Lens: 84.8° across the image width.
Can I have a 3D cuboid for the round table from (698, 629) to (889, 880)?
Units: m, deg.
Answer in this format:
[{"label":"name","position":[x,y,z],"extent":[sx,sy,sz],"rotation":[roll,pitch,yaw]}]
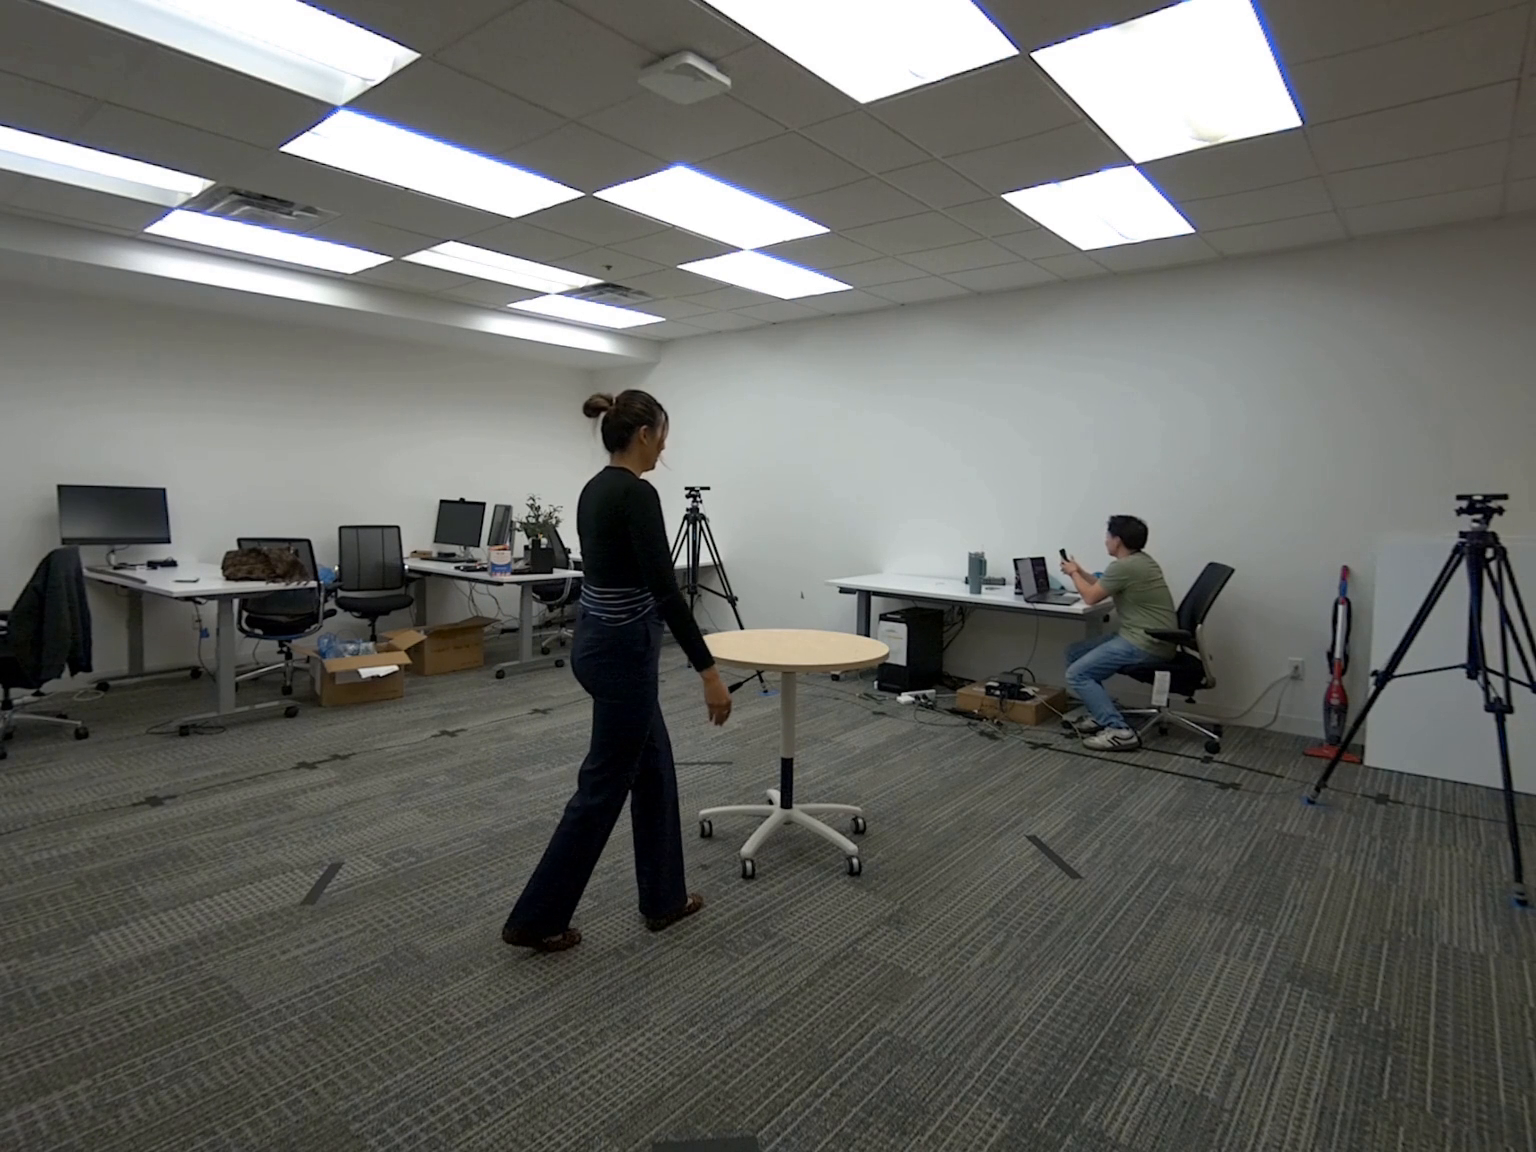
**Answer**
[{"label":"round table","position":[0.067,0.659,3.332],"extent":[0.763,0.791,0.768],"rotation":[1,4,-2]}]
